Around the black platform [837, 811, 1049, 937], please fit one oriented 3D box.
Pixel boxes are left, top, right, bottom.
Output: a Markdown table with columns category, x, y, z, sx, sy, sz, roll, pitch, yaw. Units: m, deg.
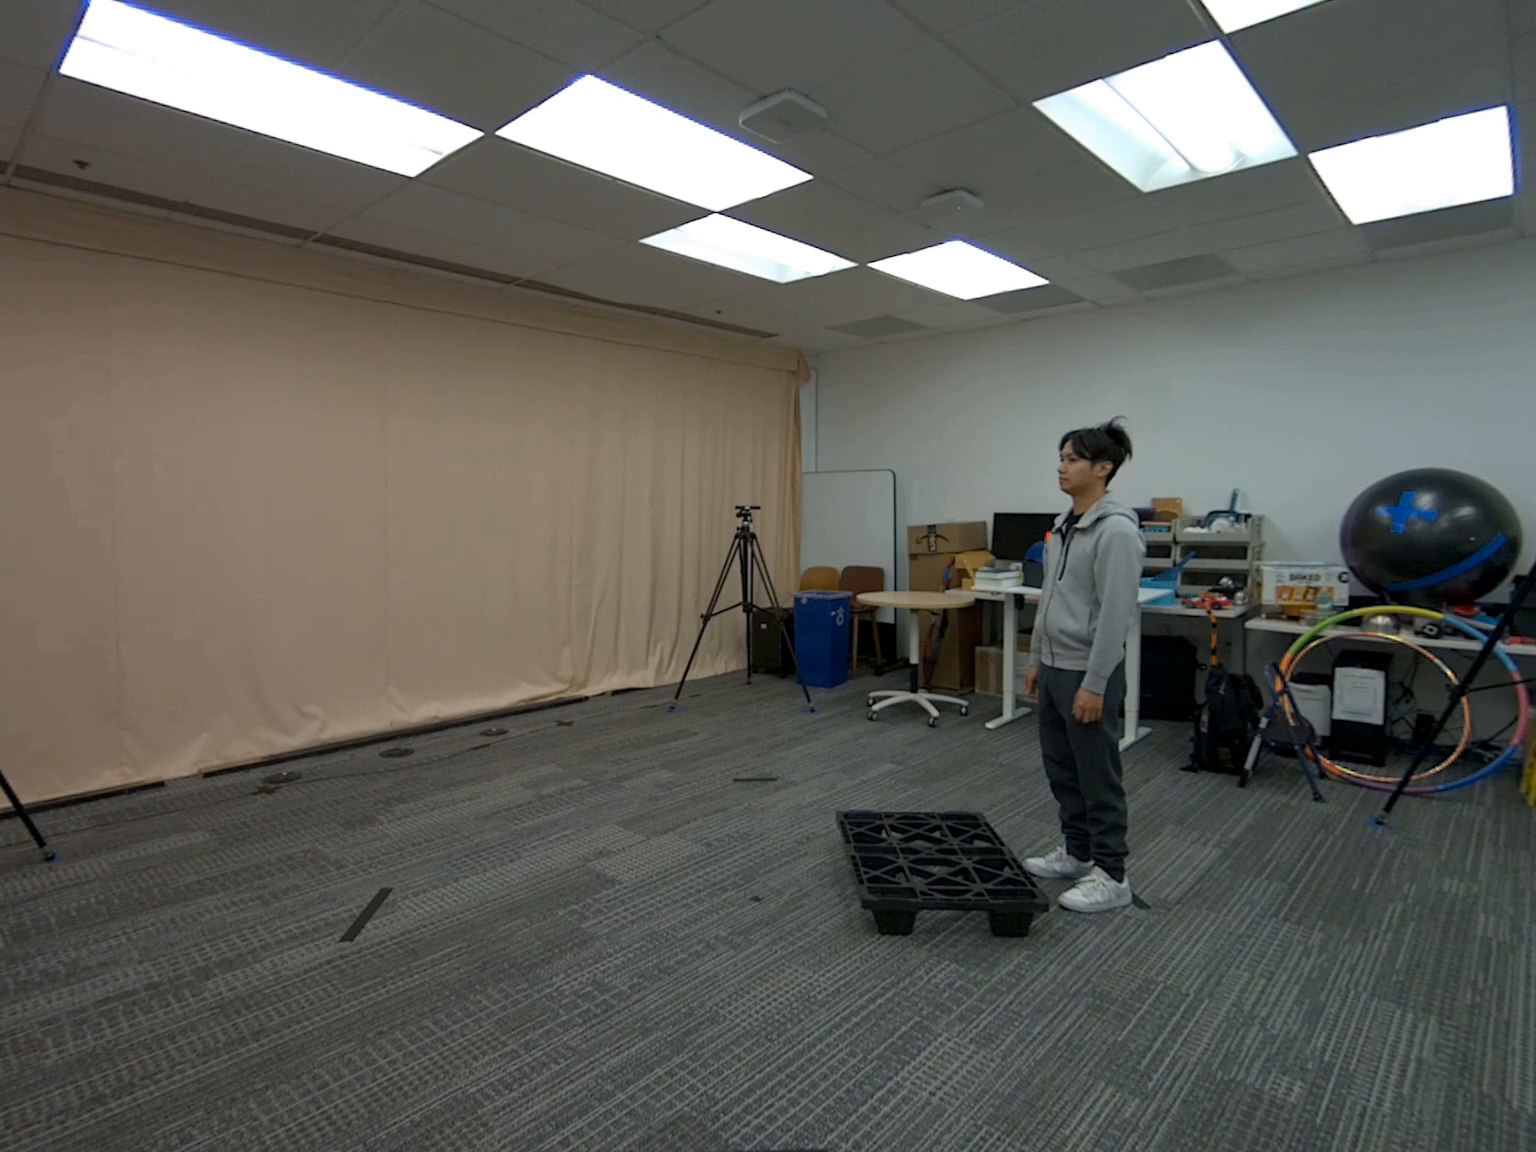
| category | x | y | z | sx | sy | sz | roll | pitch | yaw |
| --- | --- | --- | --- | --- | --- | --- | --- | --- | --- |
| black platform | 0.589 | 1.064 | 3.076 | 0.606 | 0.143 | 0.807 | 0 | 4 | 0 |
